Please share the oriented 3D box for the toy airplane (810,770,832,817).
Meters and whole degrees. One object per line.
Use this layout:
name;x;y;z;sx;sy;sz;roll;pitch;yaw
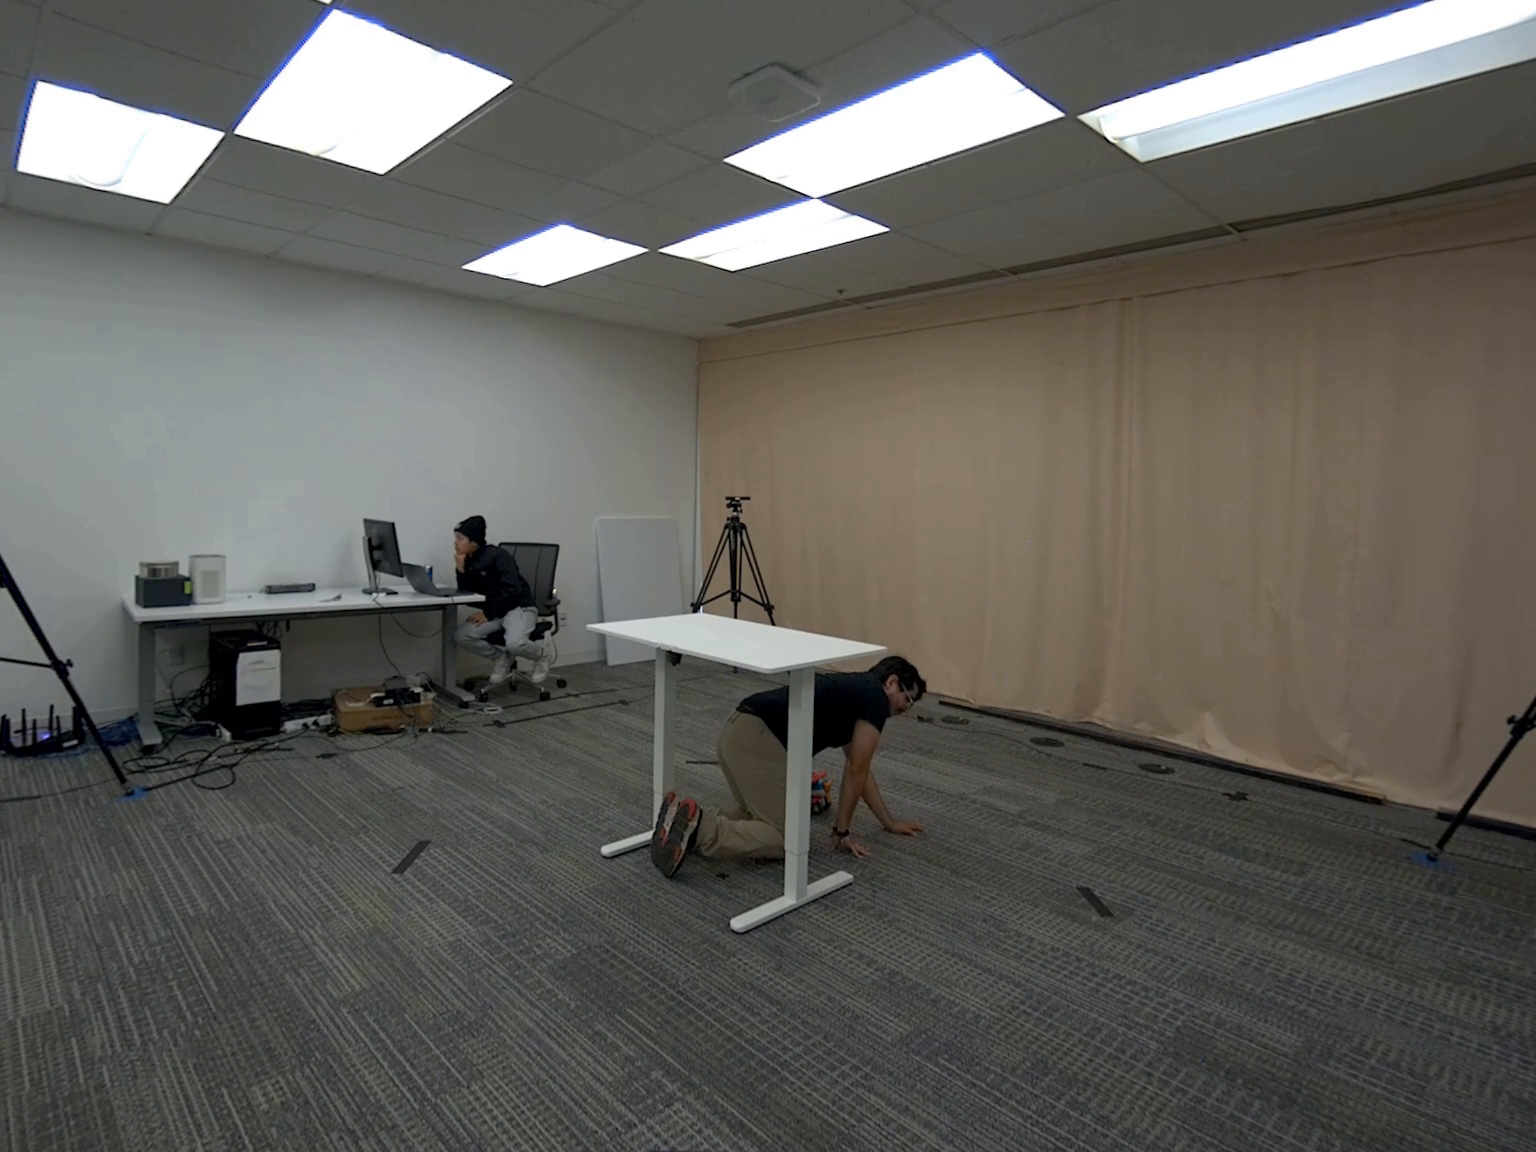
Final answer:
toy airplane;0.148;0.981;3.815;0.260;0.156;0.251;3;4;4
